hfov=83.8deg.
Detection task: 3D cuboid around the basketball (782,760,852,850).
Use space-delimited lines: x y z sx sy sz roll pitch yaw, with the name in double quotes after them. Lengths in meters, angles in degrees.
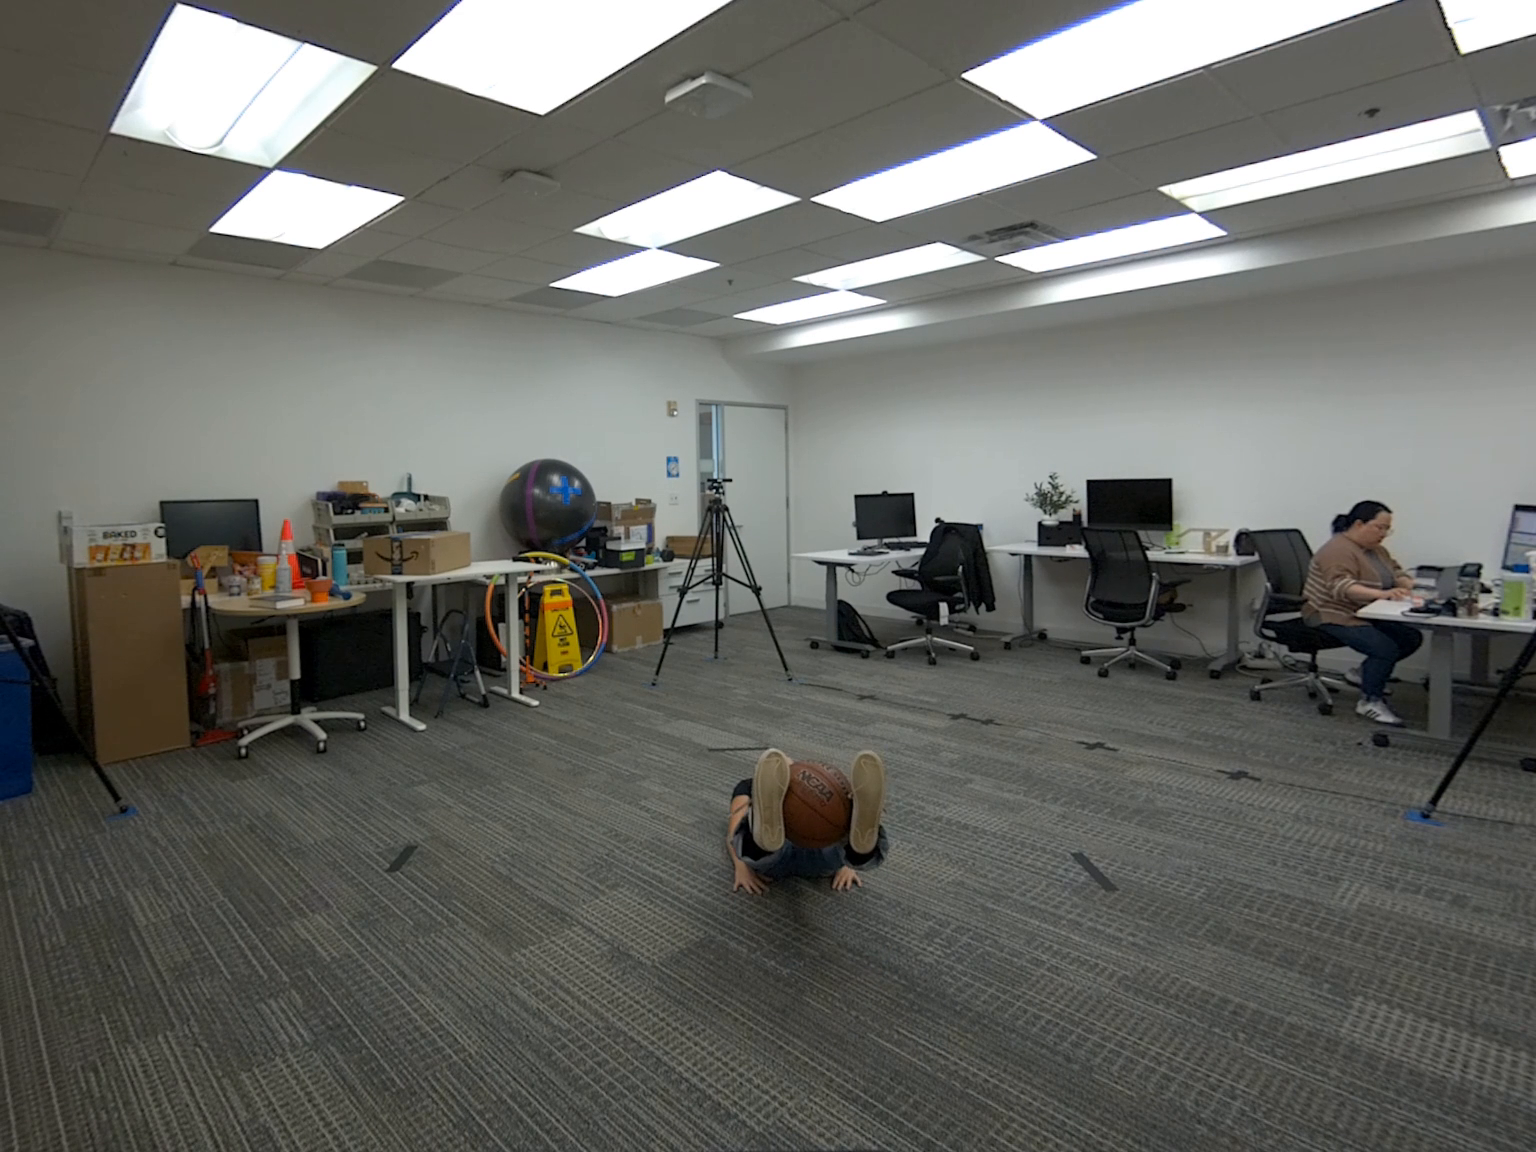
0.131 0.639 2.400 0.236 0.235 0.237 -1 5 -2 "basketball"
